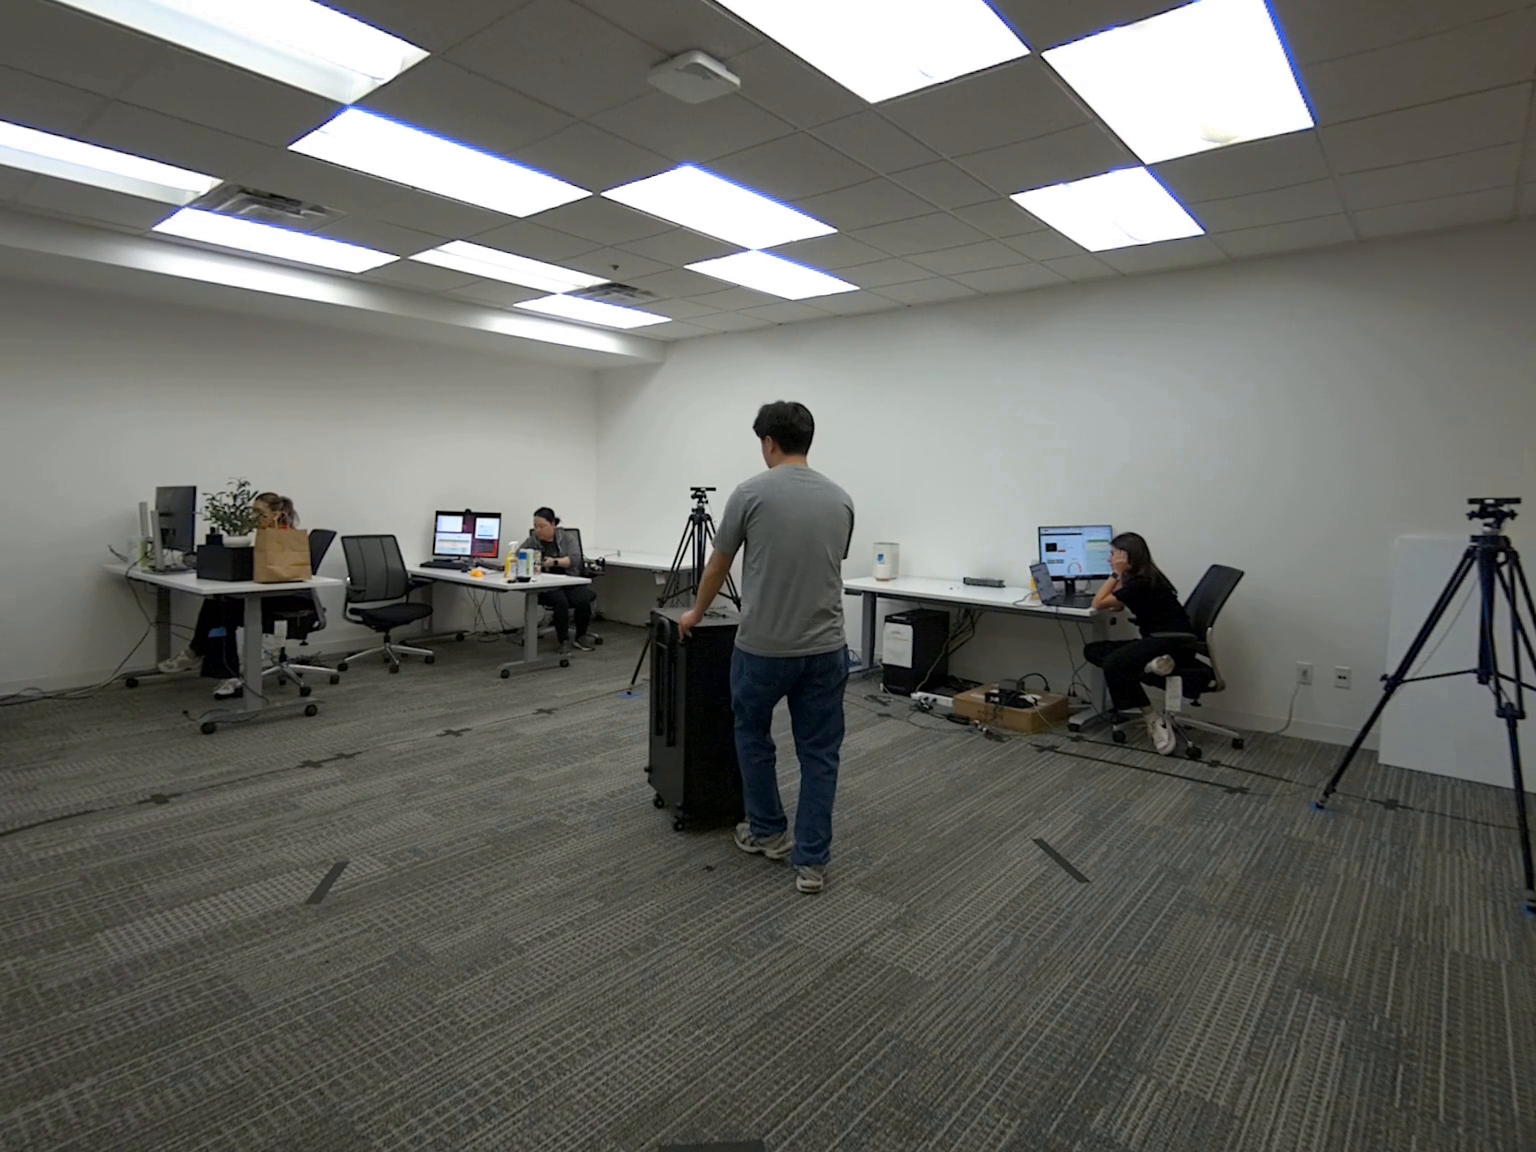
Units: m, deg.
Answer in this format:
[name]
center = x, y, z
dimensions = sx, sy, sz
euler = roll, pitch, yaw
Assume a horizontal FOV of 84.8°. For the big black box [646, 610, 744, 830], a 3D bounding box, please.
[big black box]
center = -0.290, 0.593, 3.611
dimensions = 0.387, 0.858, 0.535
euler = -1, 4, -23
